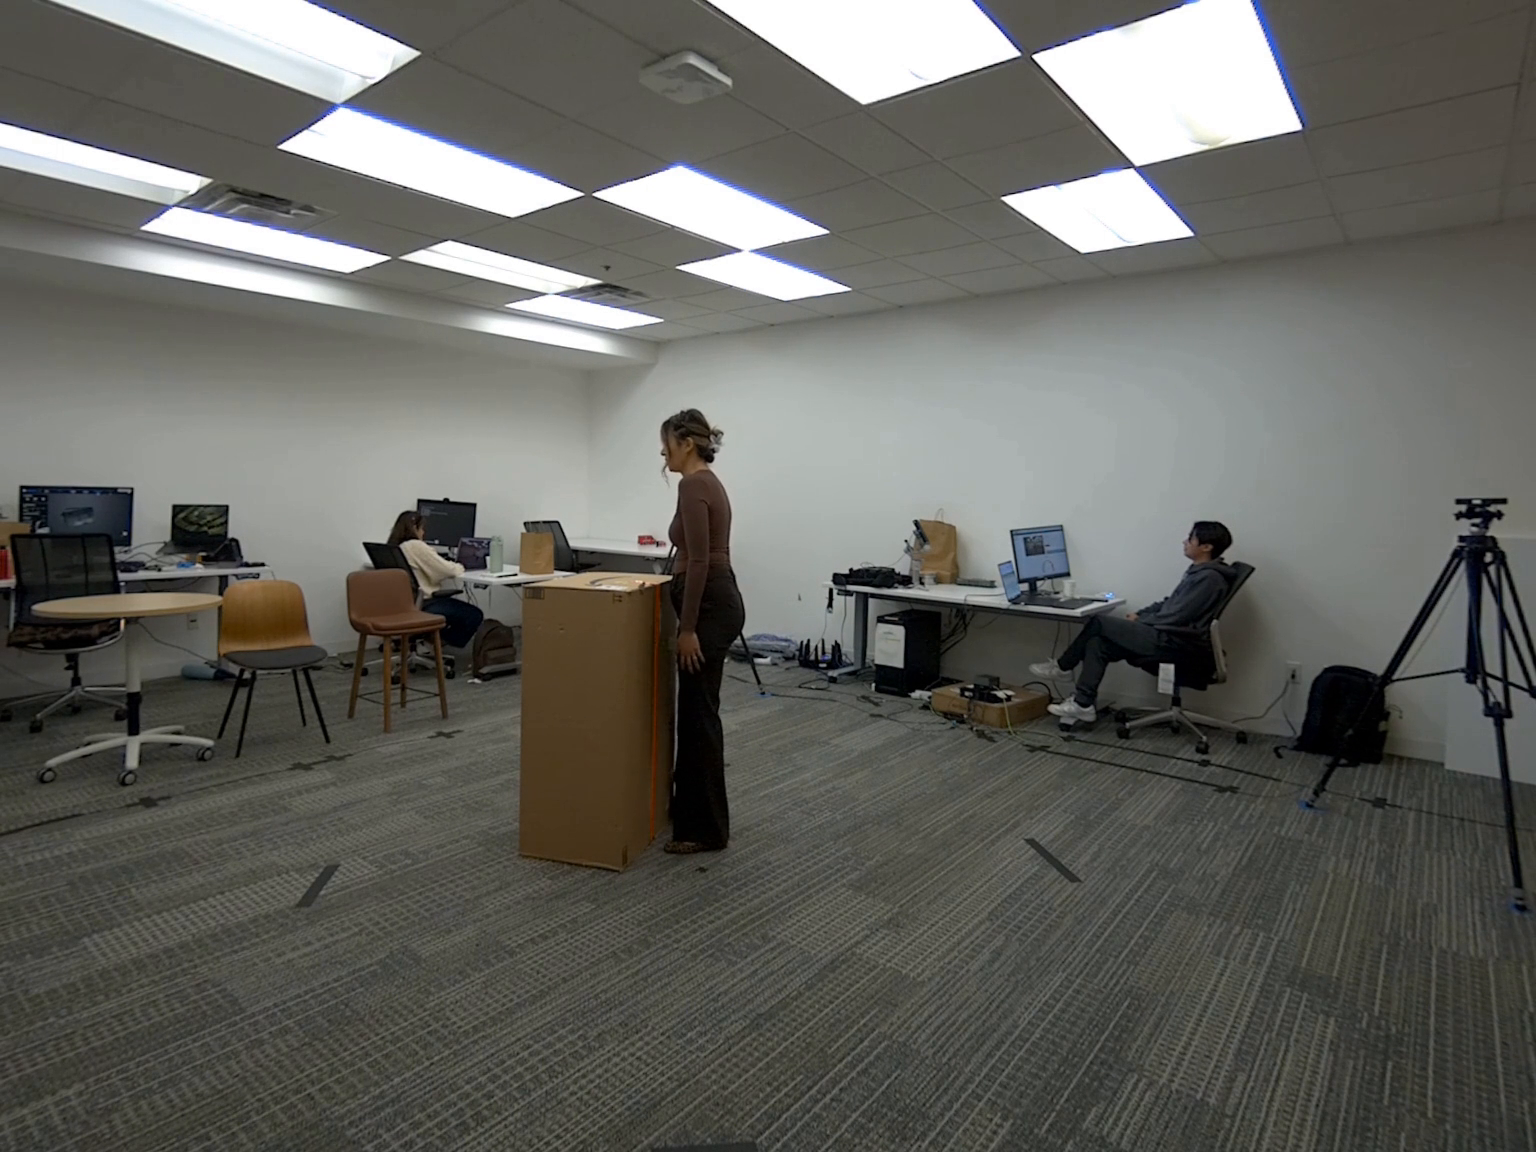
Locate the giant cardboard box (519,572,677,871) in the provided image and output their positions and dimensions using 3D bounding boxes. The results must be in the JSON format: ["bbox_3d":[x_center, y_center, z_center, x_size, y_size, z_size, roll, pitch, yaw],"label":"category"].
[{"bbox_3d":[-0.669,0.524,3.374,0.455,1.024,0.575,2,3,15],"label":"giant cardboard box"}]
